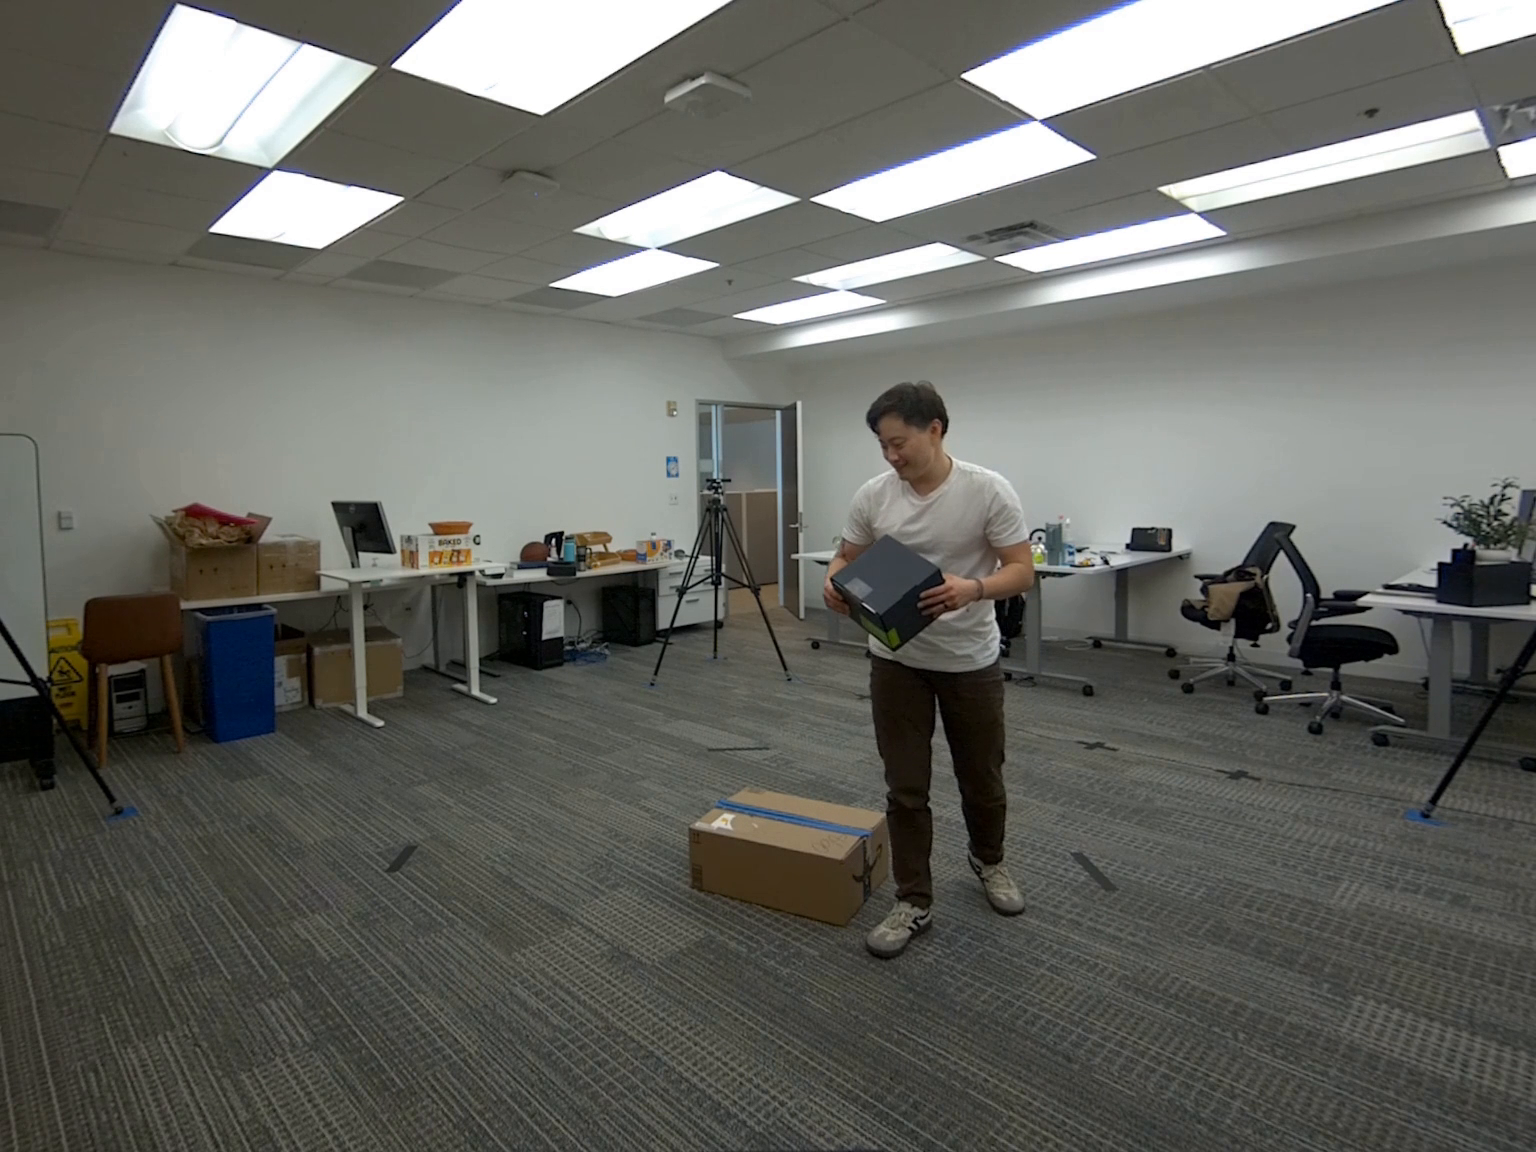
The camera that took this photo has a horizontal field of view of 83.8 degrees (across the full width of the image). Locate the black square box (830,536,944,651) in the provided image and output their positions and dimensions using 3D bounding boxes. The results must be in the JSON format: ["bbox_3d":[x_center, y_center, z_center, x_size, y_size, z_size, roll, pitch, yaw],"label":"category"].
[{"bbox_3d":[0.345,0.044,2.363,0.216,0.150,0.237,-36,39,-11],"label":"black square box"}]
